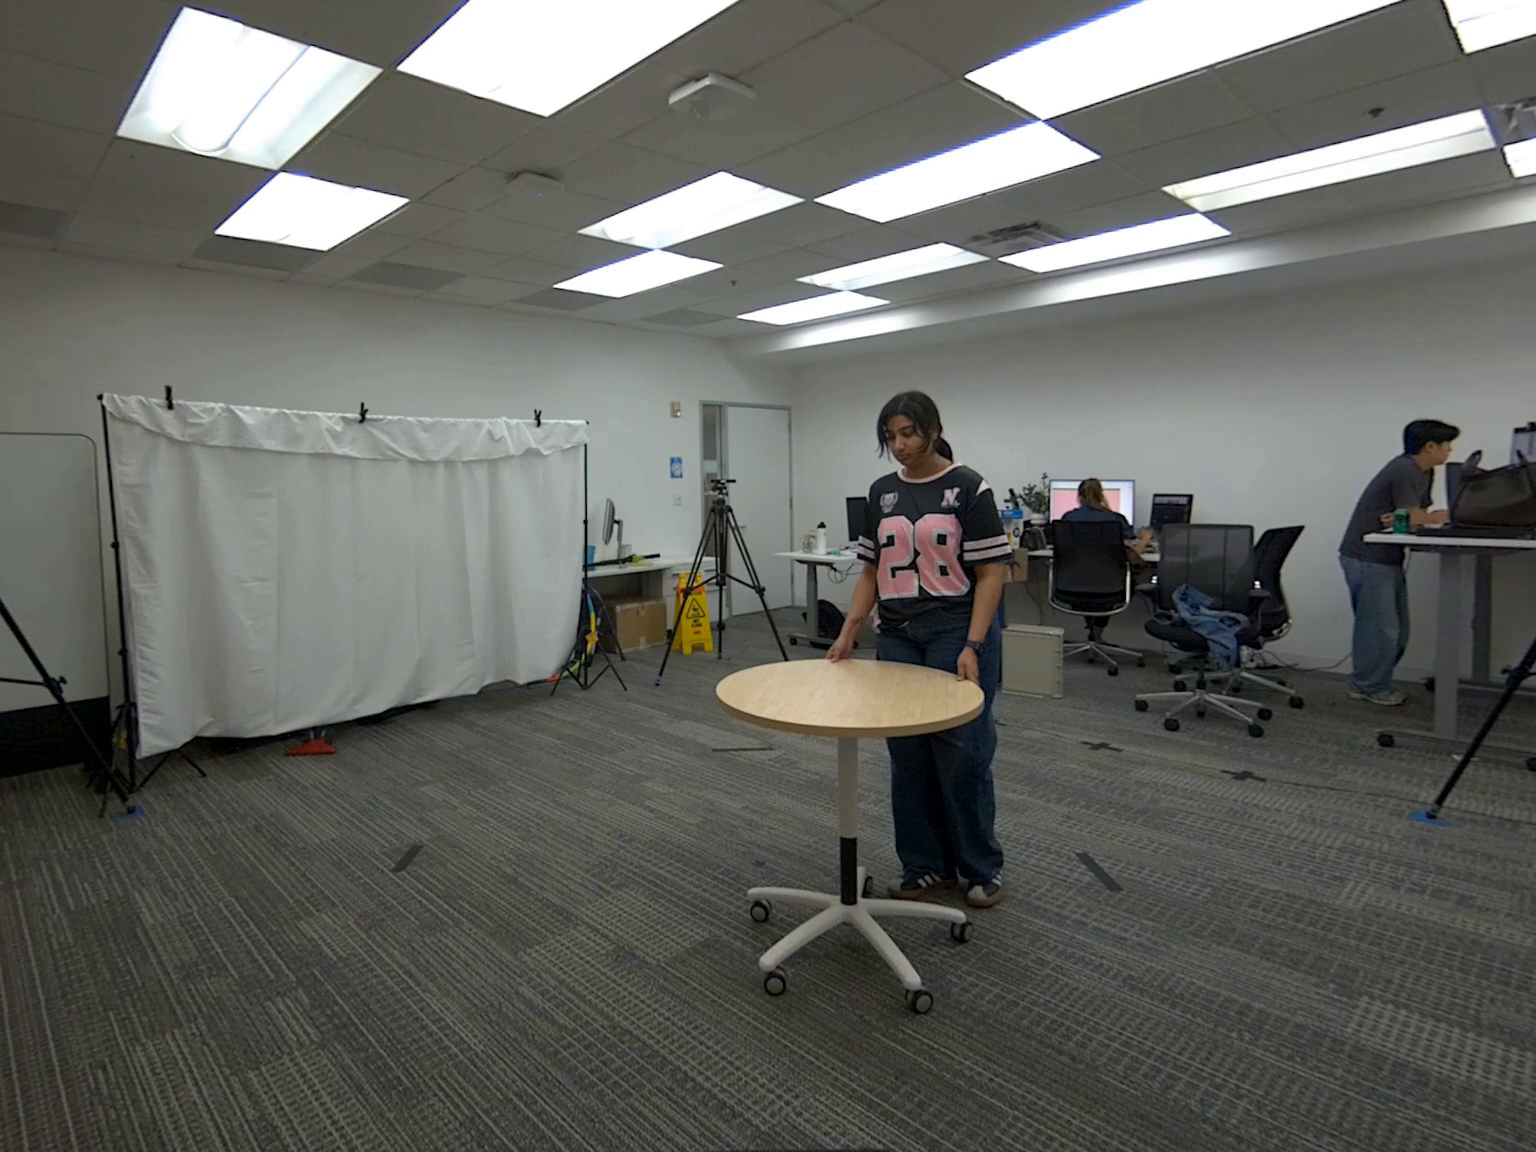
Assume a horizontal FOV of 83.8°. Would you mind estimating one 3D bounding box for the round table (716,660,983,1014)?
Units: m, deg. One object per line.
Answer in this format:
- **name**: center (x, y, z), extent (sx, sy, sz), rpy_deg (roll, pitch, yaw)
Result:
- **round table**: center (0.237, 0.718, 2.522), extent (0.763, 0.790, 0.768), rpy_deg (-1, 5, -2)
